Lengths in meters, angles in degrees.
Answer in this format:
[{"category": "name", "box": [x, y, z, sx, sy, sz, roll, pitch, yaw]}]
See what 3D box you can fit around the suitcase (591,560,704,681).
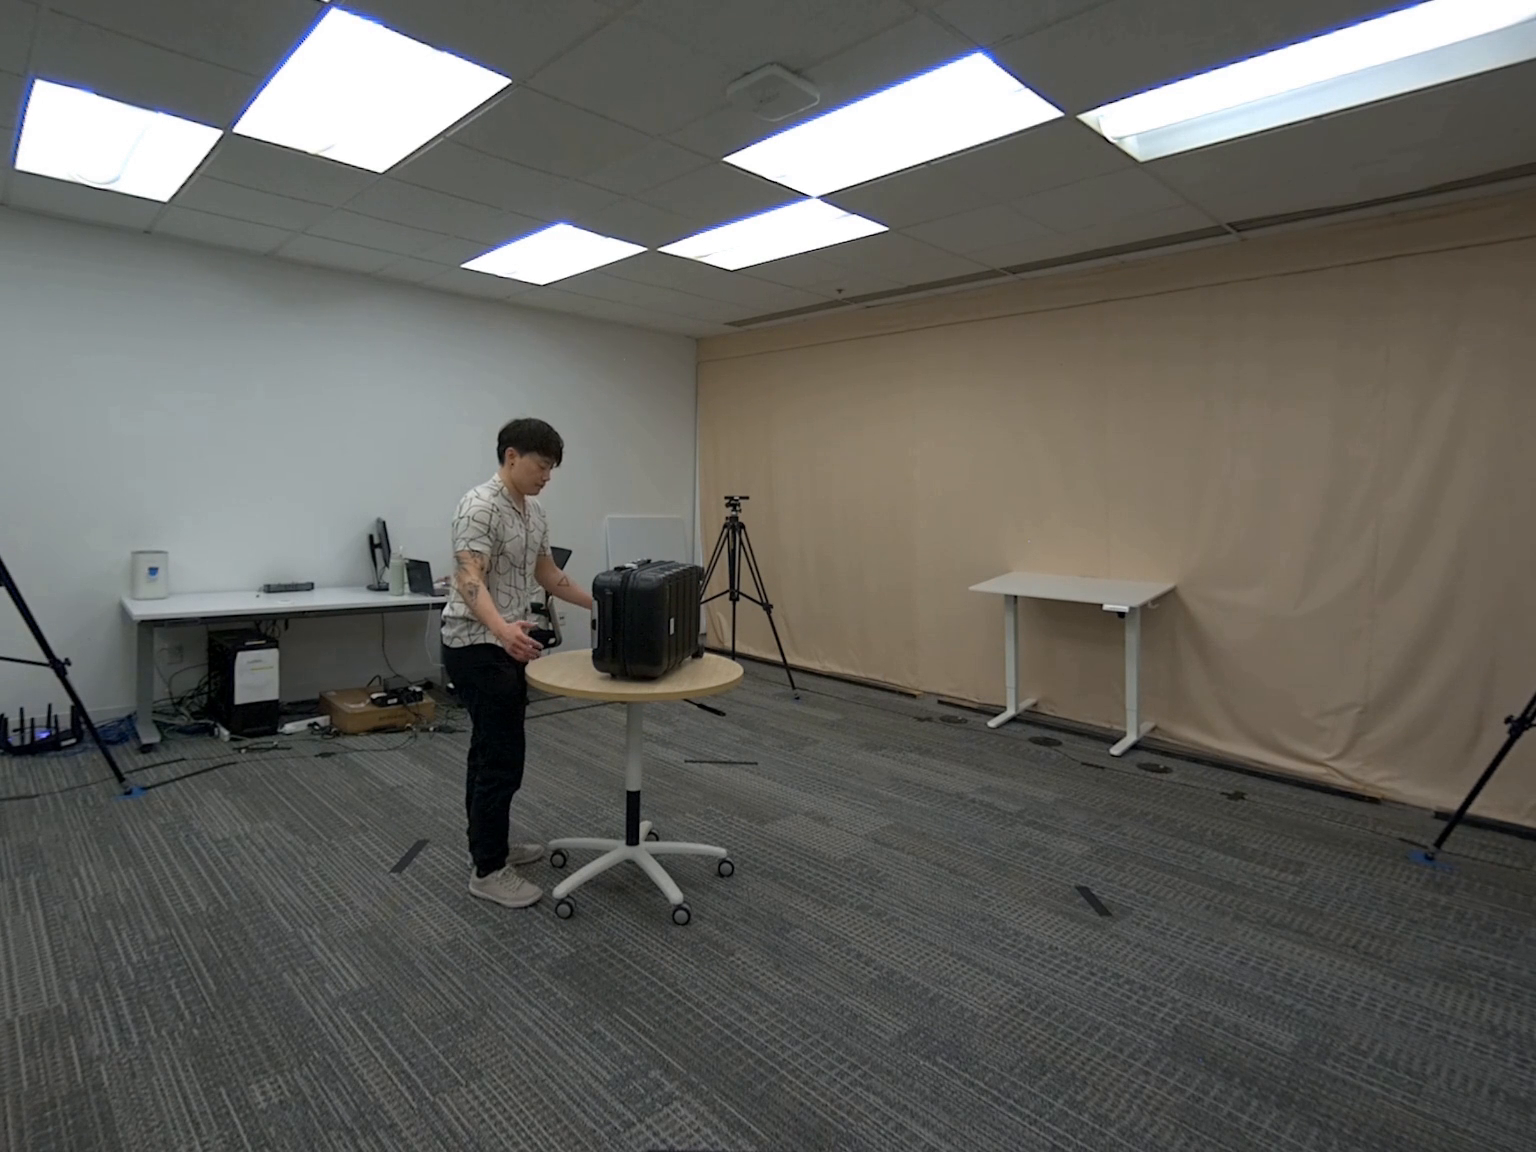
[{"category": "suitcase", "box": [-0.423, 0.135, 2.958, 0.251, 0.374, 0.545, 3, 4, 12]}]
